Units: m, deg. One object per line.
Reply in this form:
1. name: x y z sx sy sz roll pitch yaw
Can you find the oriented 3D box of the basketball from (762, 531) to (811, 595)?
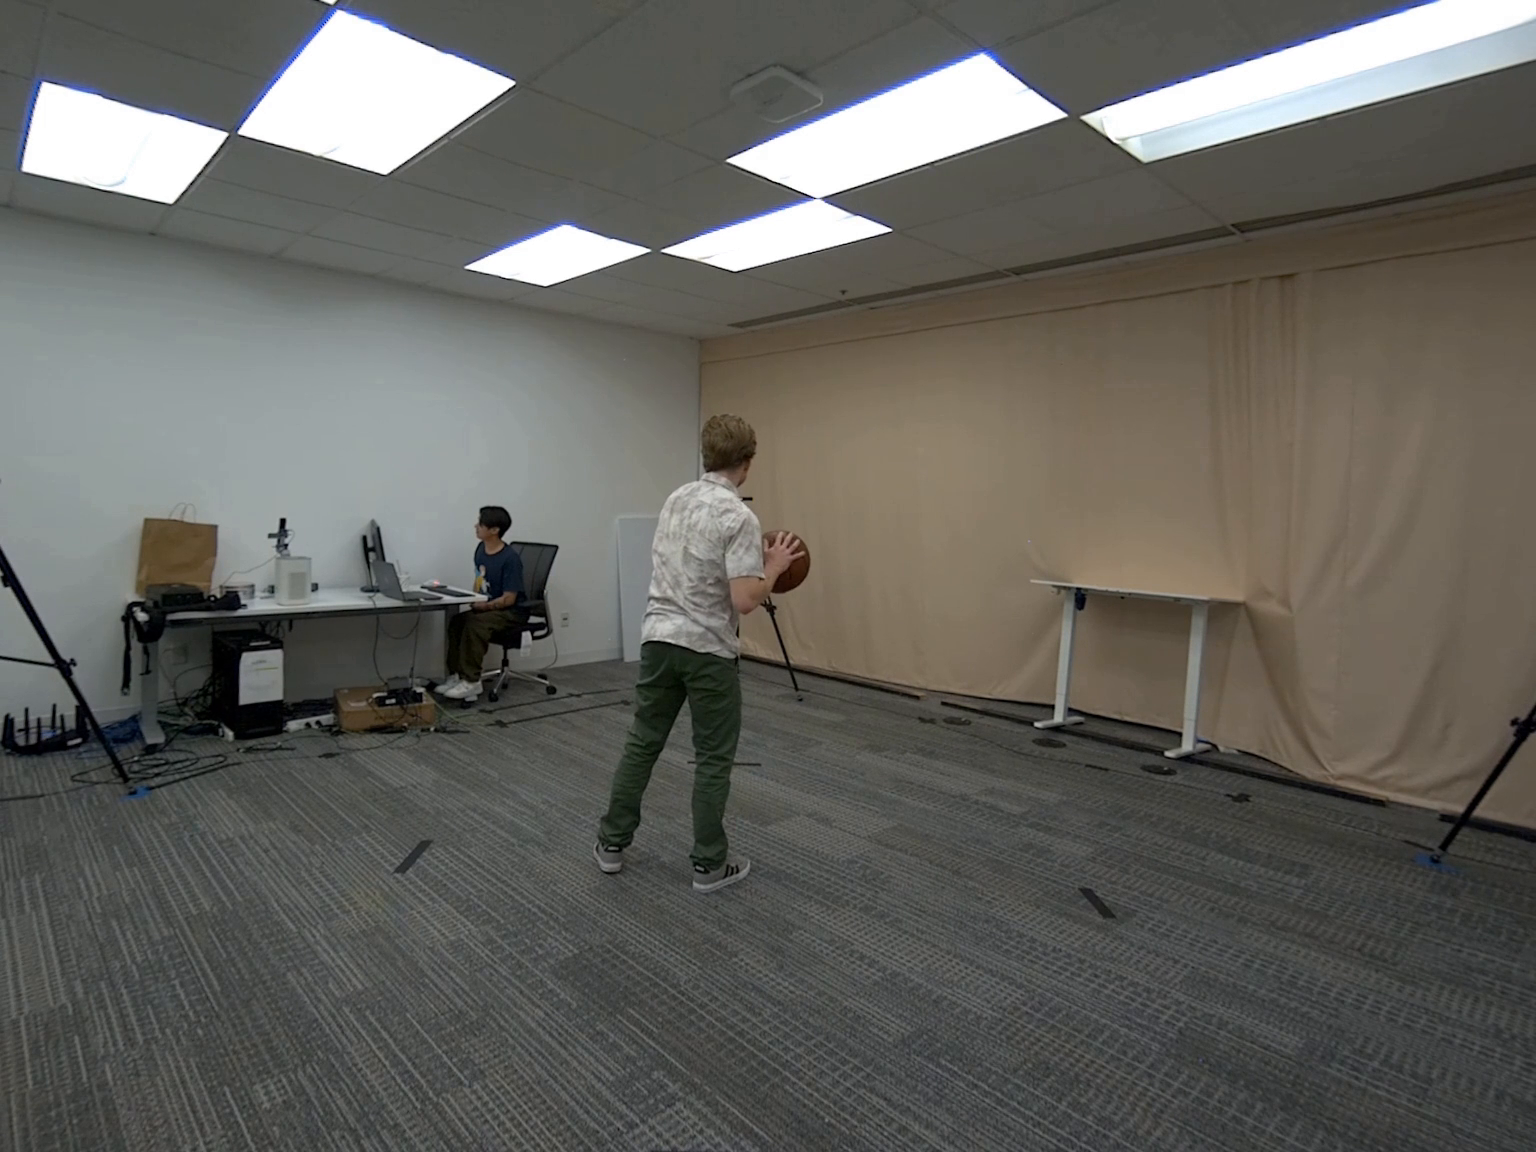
1. basketball: 0.031 -0.052 3.206 0.236 0.235 0.237 1 4 -1
